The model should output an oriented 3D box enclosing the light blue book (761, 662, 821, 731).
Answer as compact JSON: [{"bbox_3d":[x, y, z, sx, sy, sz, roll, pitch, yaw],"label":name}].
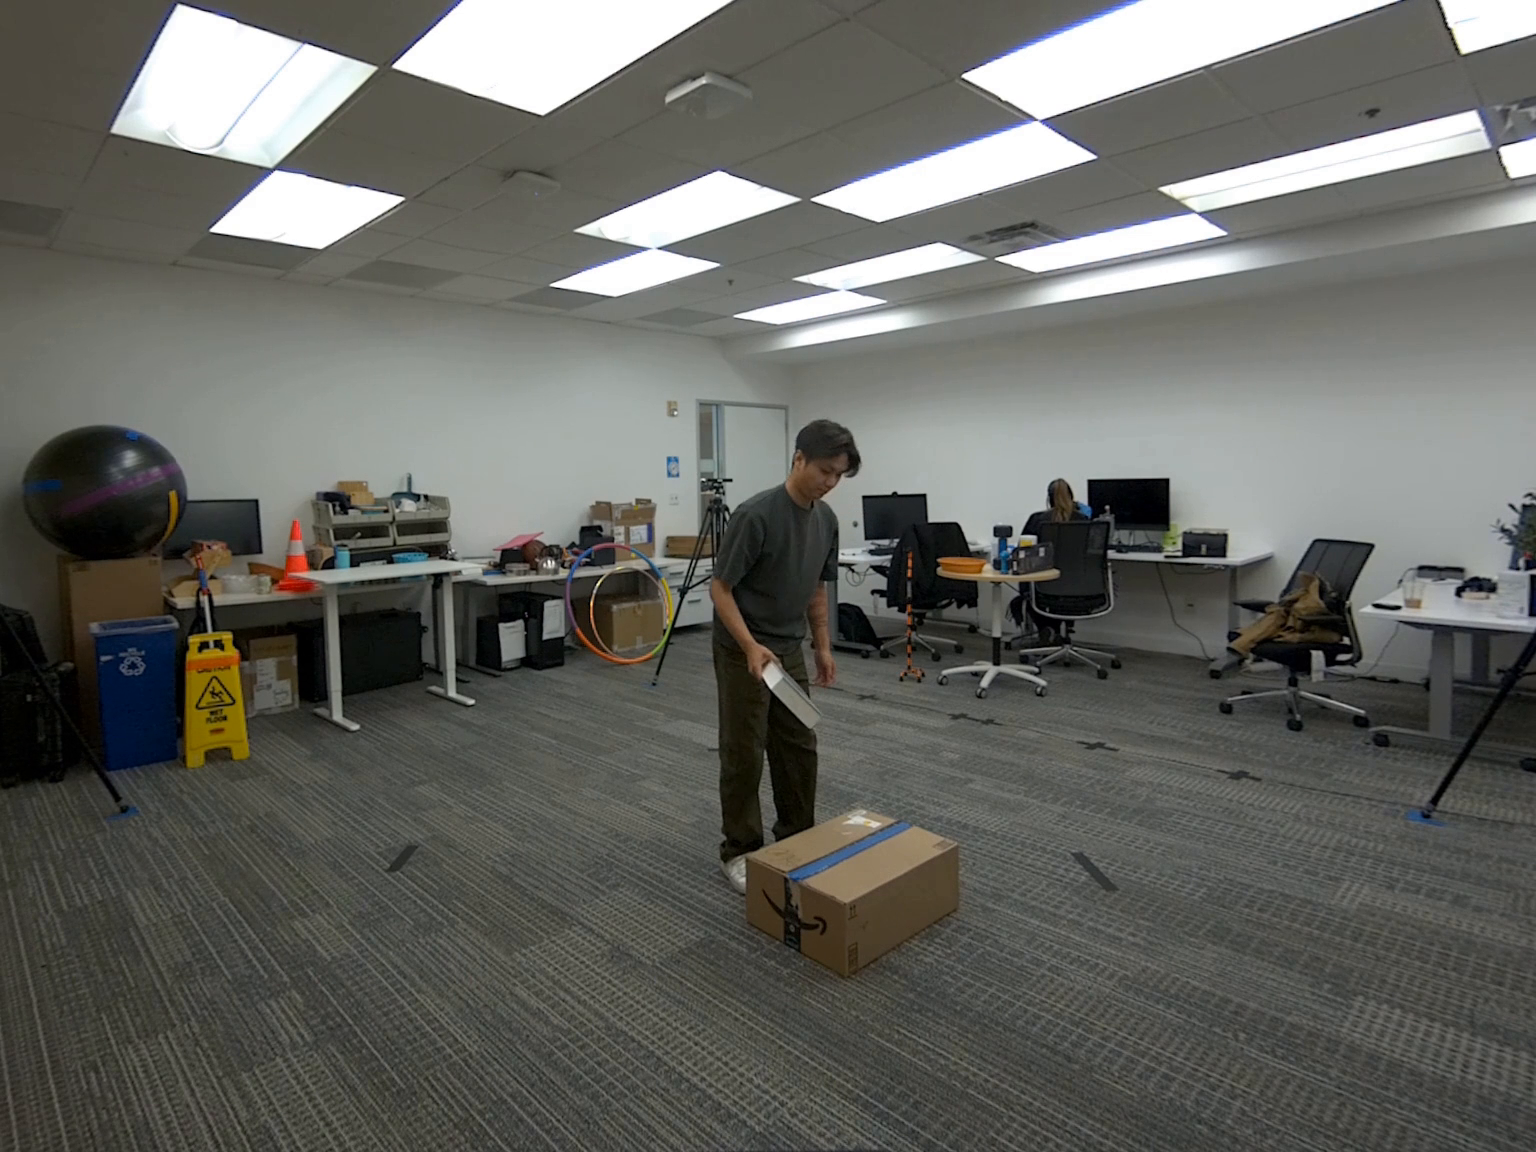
[{"bbox_3d":[0.063,0.374,2.736,0.059,0.189,0.264,-42,11,0],"label":"light blue book"}]
